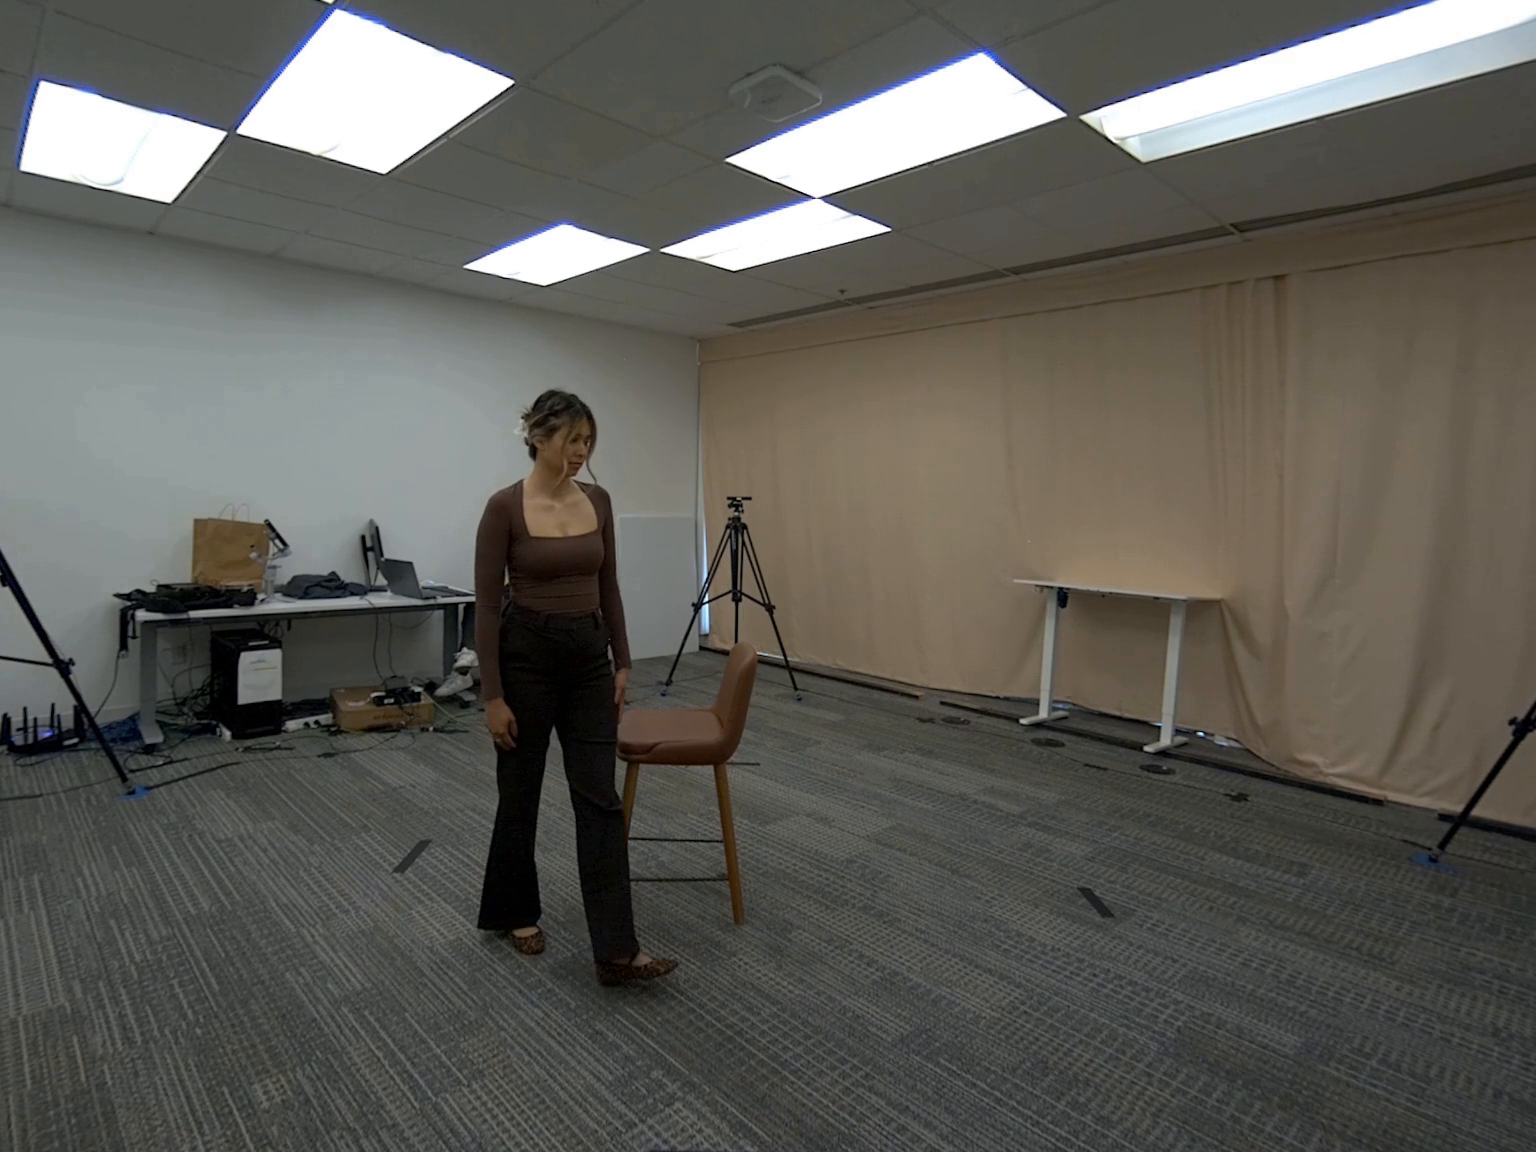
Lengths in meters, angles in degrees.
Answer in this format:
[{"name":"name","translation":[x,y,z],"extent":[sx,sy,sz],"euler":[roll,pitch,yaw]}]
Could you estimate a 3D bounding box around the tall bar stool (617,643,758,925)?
[{"name":"tall bar stool","translation":[-0.308,0.689,2.897],"extent":[0.466,0.887,0.459],"euler":[2,4,-5]}]
